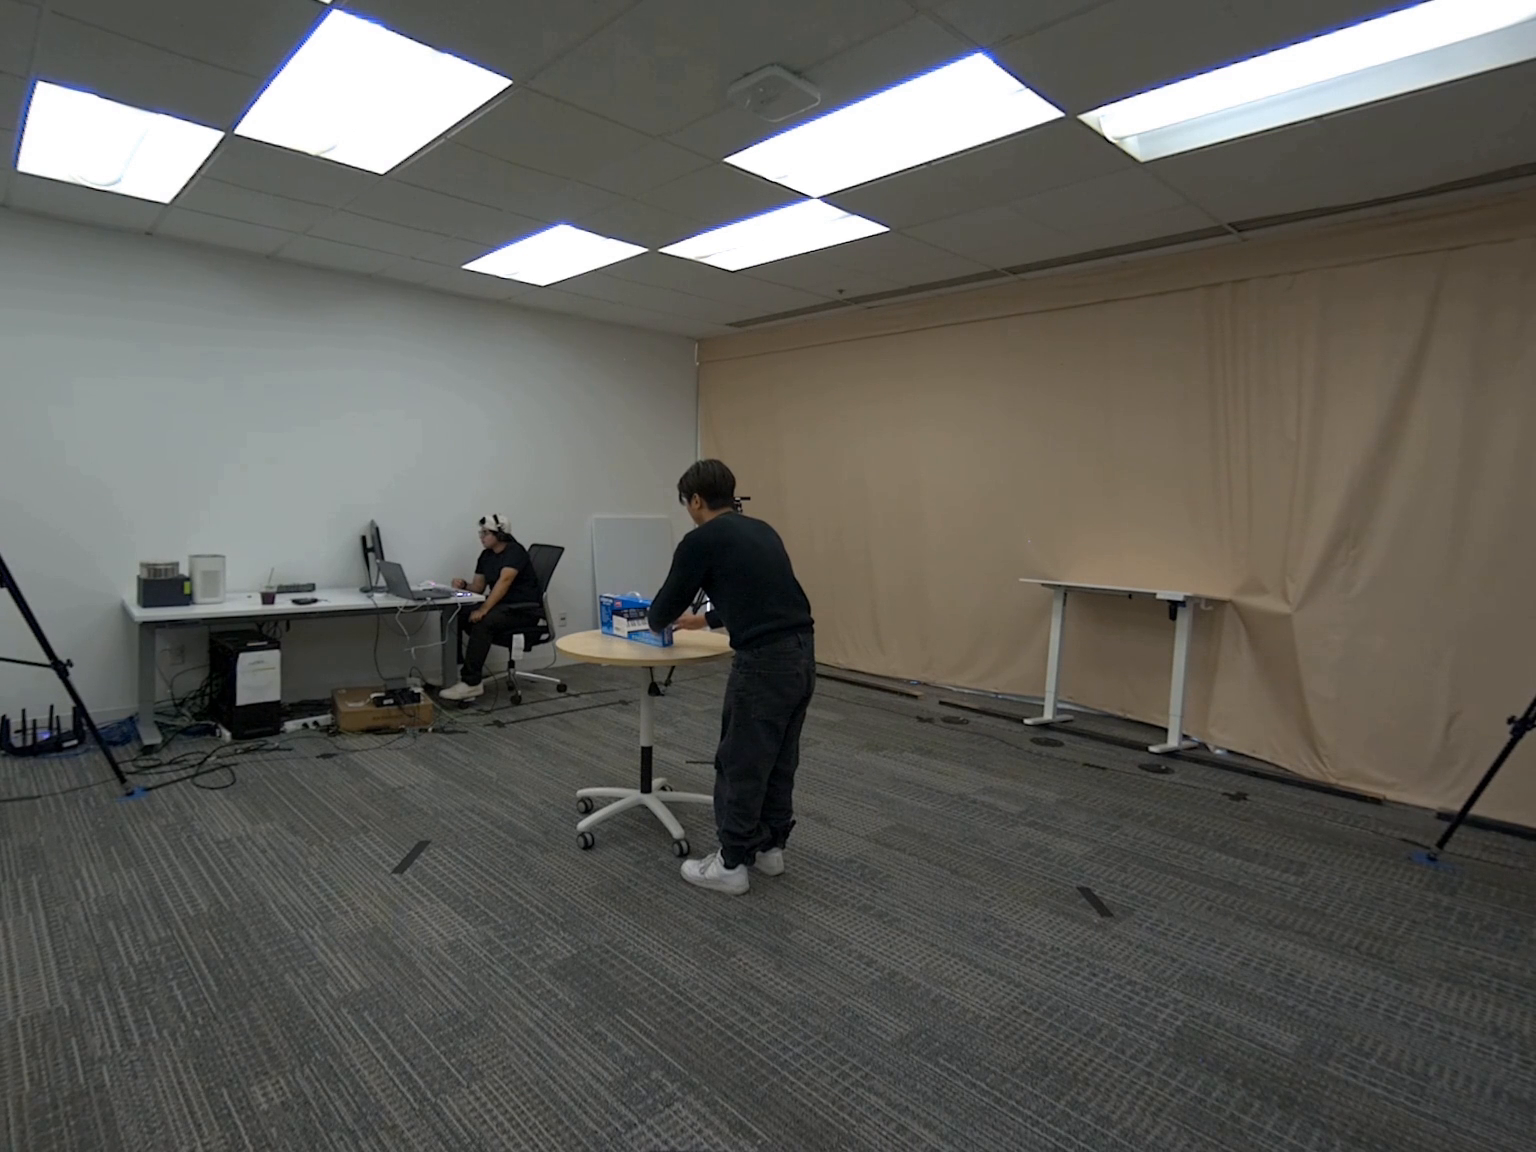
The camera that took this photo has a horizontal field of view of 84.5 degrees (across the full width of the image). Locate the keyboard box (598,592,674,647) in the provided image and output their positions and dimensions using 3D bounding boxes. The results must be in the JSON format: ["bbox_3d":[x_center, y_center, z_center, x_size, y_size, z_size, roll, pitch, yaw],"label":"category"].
[{"bbox_3d":[-0.580,0.186,3.587,0.058,0.175,0.448,-7,10,-44],"label":"keyboard box"}]
